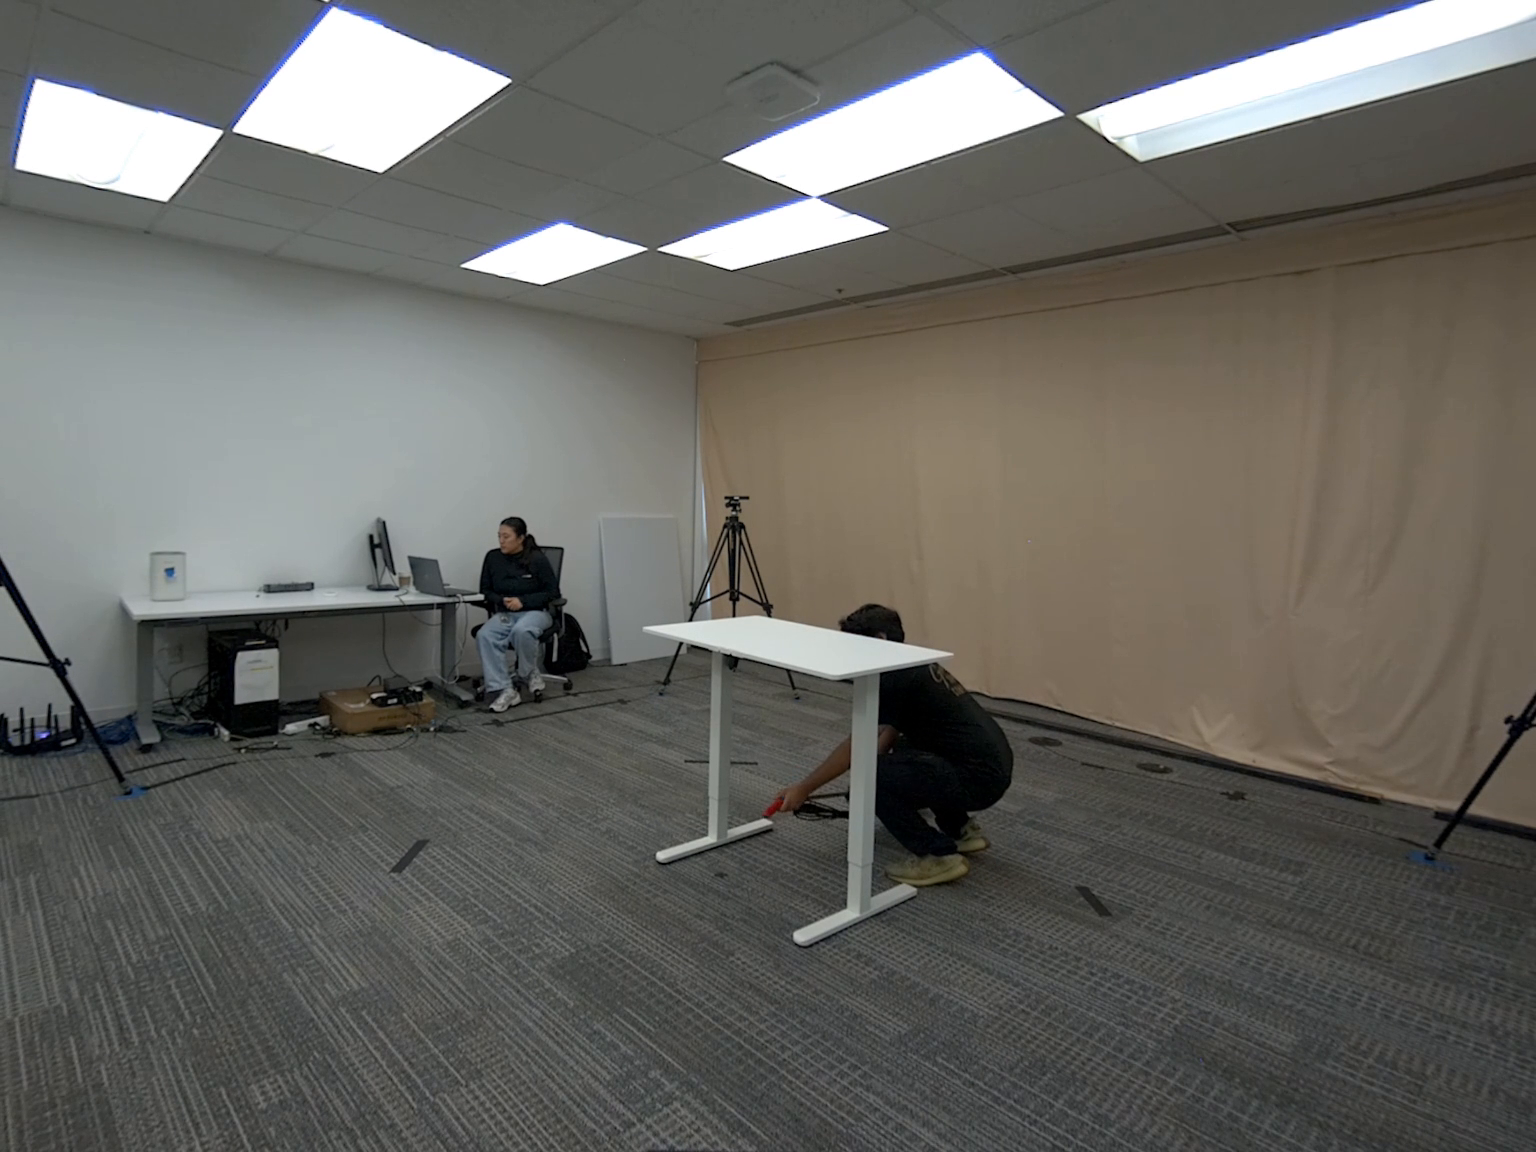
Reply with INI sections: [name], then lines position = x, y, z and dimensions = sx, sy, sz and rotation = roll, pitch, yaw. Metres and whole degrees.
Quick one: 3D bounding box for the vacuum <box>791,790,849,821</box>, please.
[vacuum]
position = 0.316, 0.930, 3.426
dimensions = 0.257, 0.145, 1.022
rotation = -15, -15, 41
